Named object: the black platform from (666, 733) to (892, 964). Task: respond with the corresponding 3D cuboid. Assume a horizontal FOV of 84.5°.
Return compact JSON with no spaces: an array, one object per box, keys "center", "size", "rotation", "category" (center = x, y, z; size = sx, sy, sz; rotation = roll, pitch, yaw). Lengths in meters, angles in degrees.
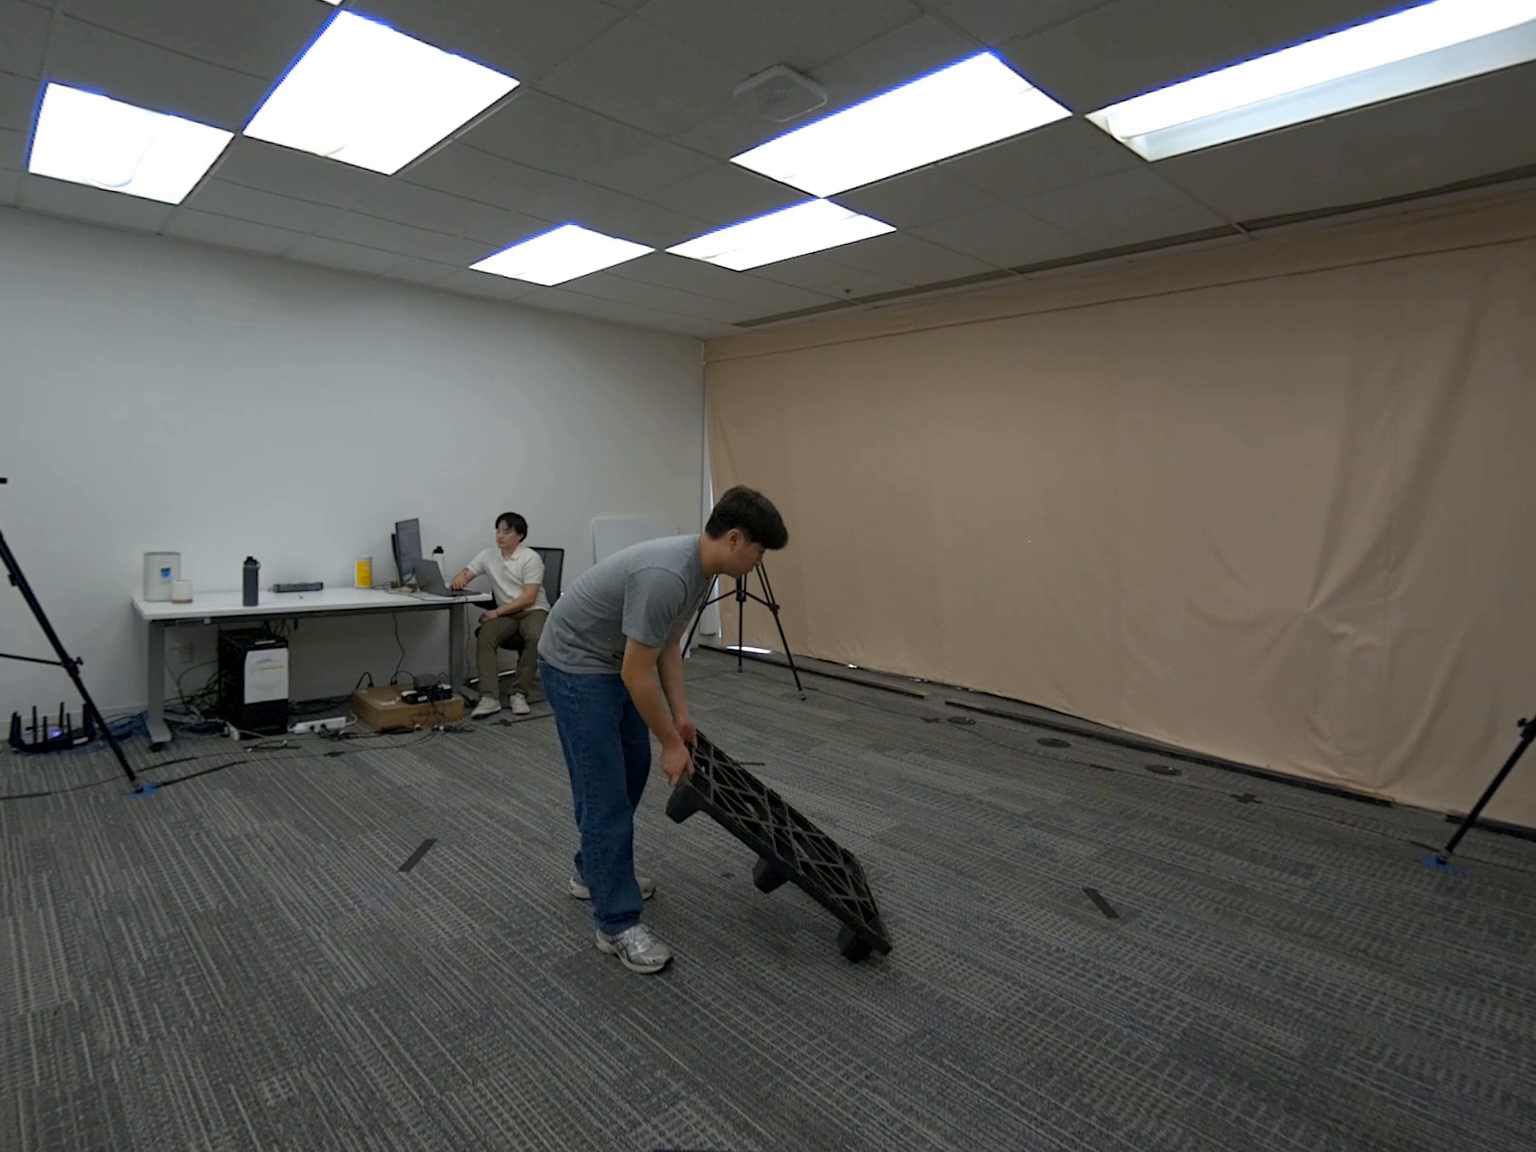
[{"center":[-0.008,0.857,2.747],"size":[0.802,0.143,0.608],"rotation":[40,0,-5],"category":"black platform"}]
